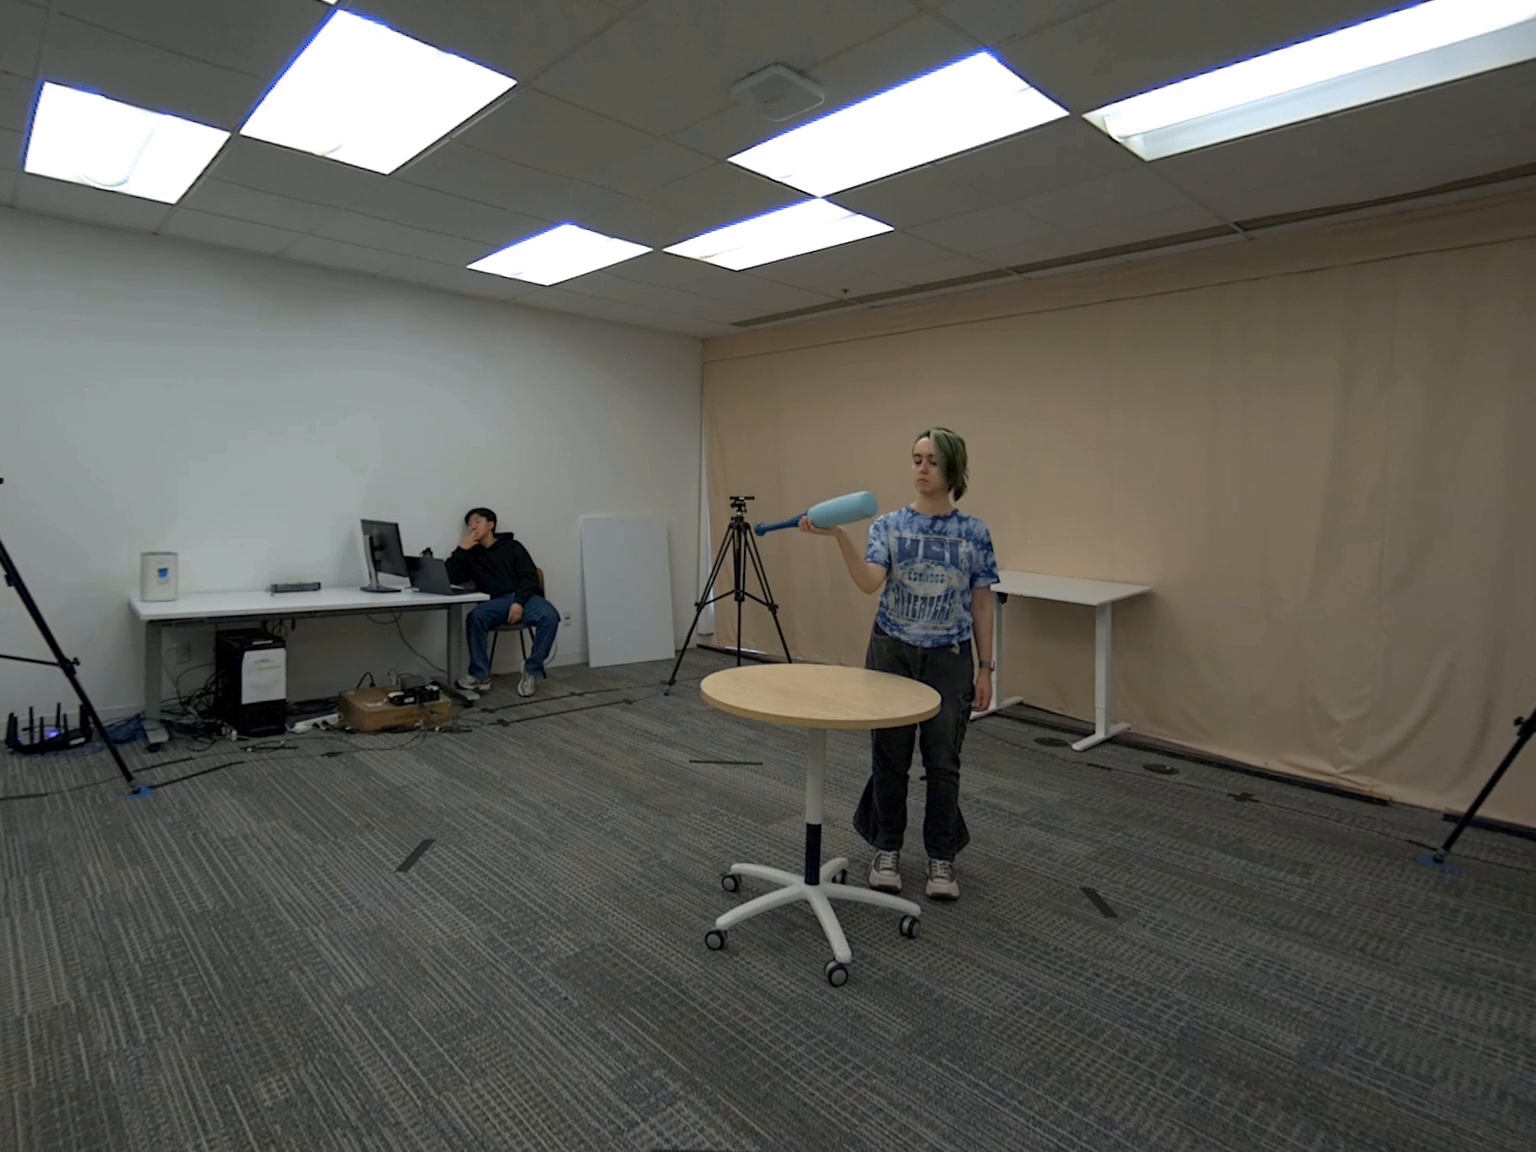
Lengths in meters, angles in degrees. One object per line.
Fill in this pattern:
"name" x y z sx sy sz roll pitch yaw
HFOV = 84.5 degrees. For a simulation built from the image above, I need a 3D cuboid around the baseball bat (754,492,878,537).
"baseball bat" 0.141 -0.190 2.821 0.087 0.089 0.552 -2 -6 -38
